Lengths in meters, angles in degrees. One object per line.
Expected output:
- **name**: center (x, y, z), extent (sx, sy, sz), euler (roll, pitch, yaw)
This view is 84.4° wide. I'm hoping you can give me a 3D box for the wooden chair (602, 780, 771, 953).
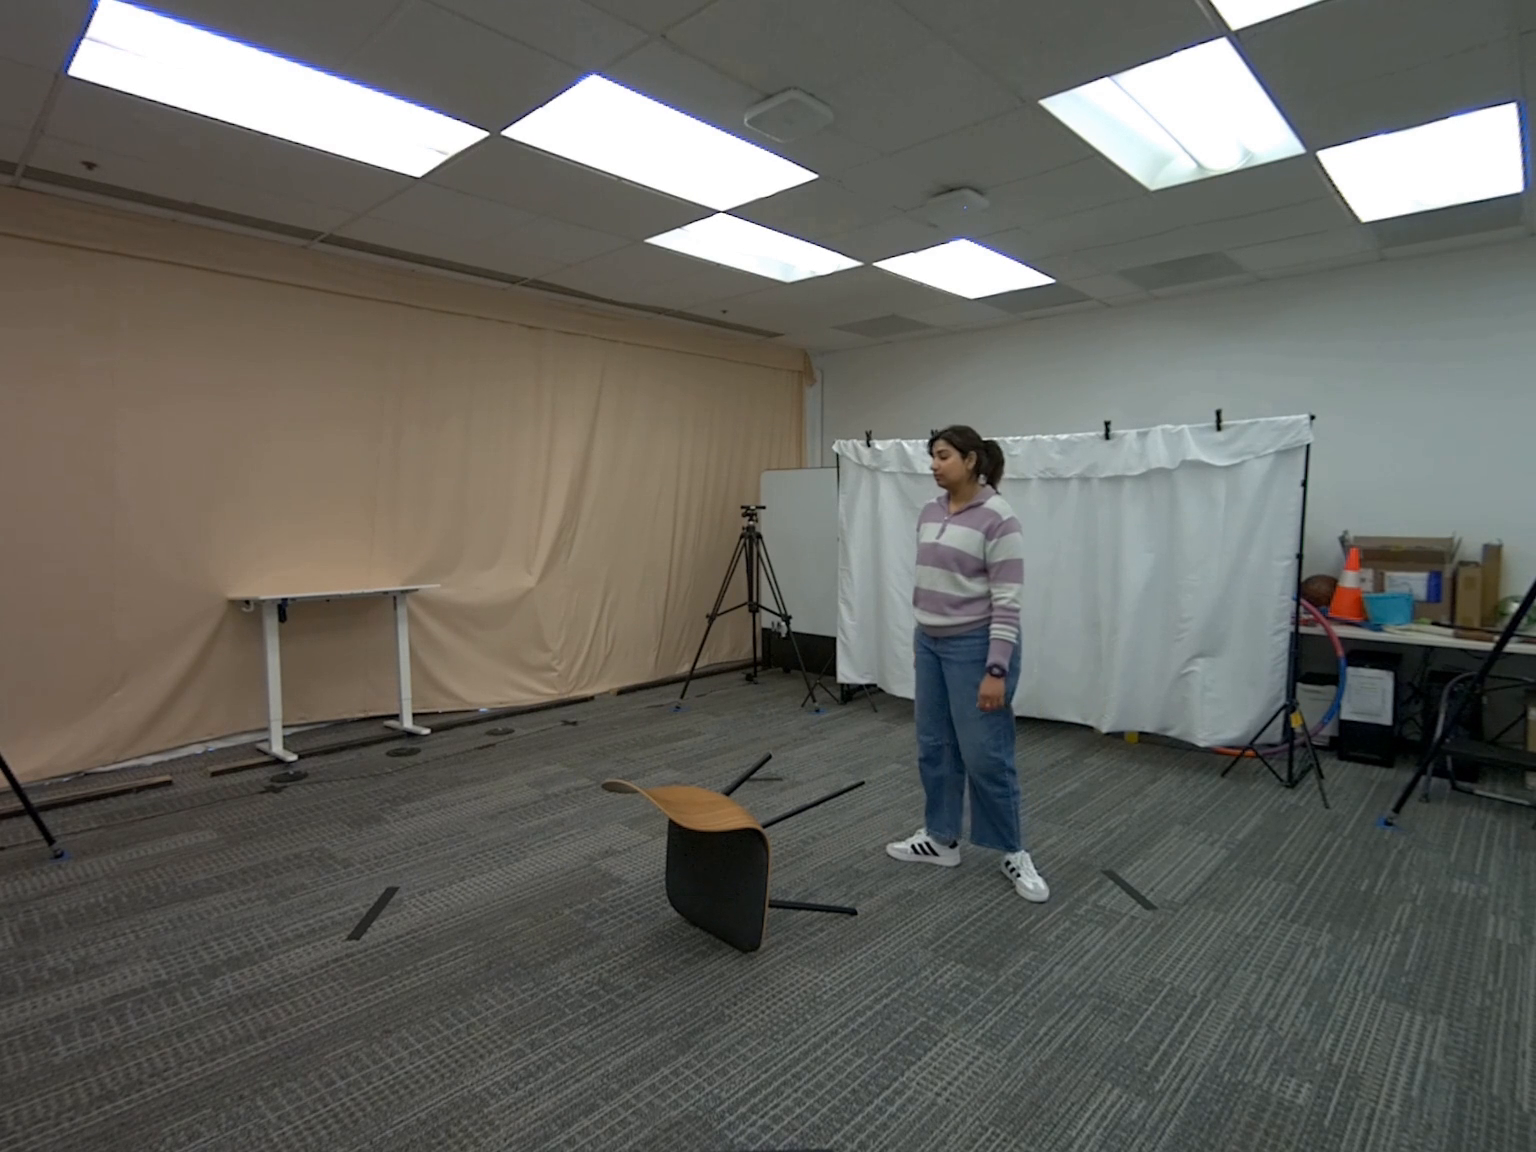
- **wooden chair**: center (-0.135, 0.910, 2.740), extent (0.494, 0.524, 0.847), euler (5, -2, 45)
